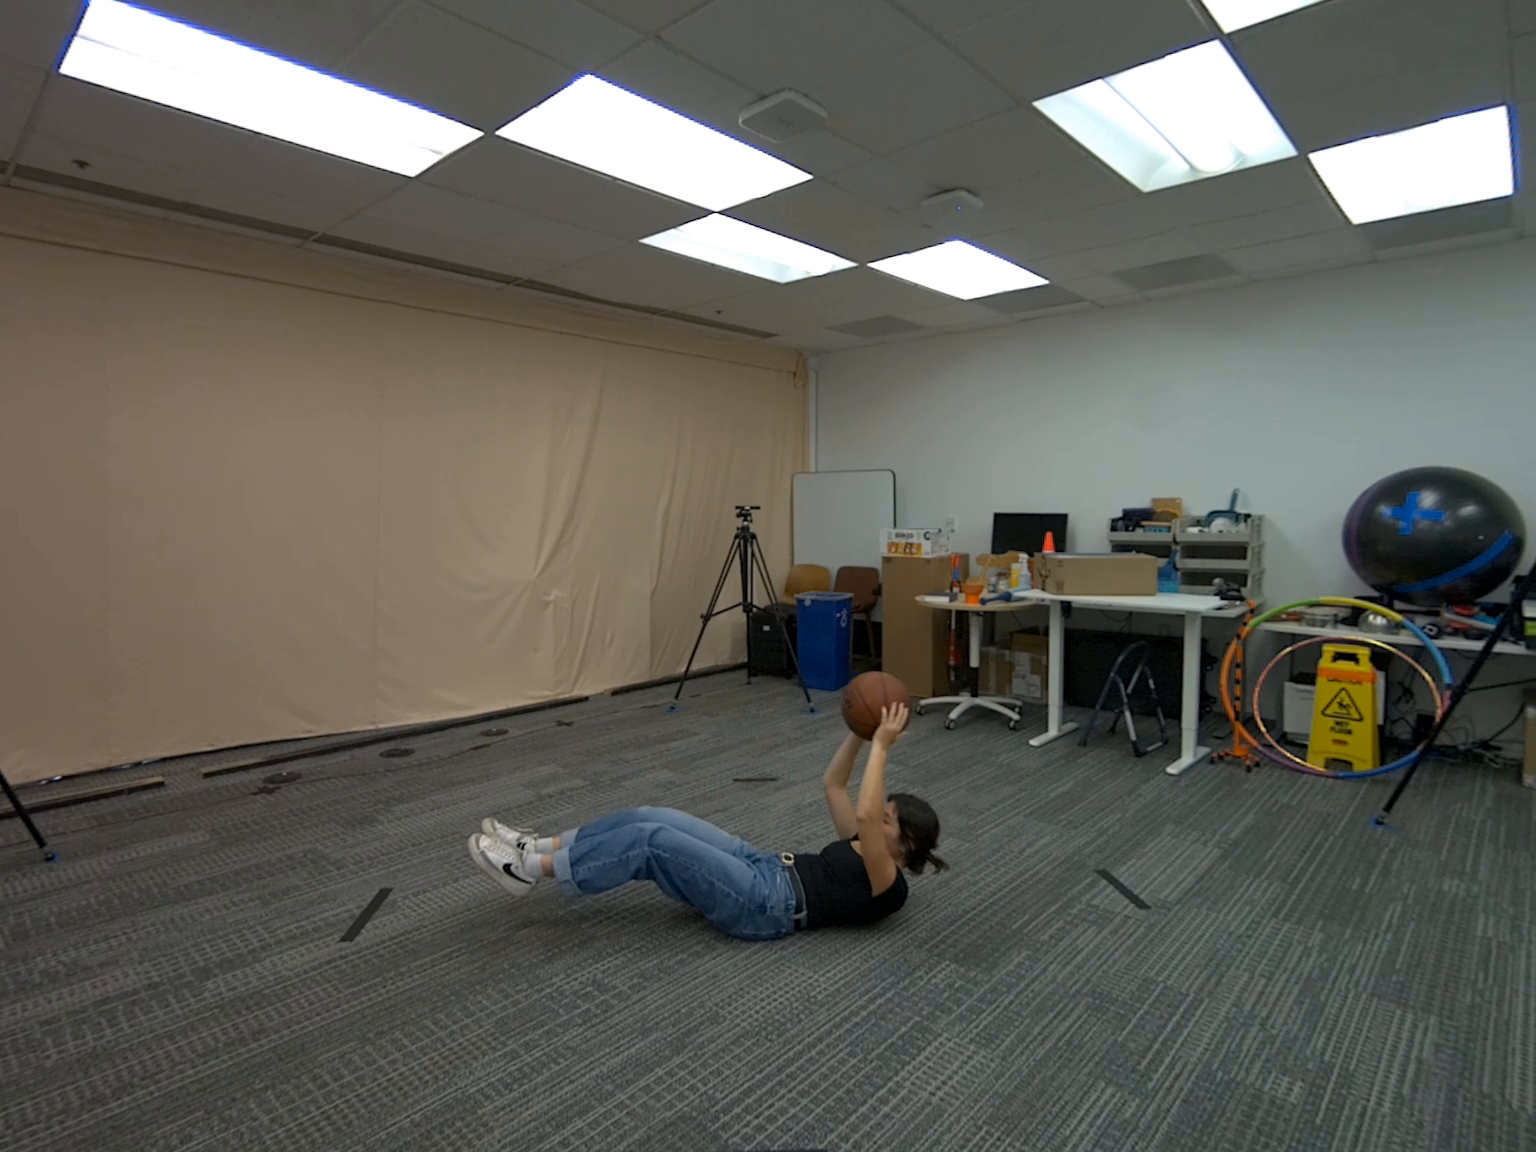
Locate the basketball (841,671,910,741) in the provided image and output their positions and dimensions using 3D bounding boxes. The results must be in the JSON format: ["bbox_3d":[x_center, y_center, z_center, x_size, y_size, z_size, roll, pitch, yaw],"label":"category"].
[{"bbox_3d":[0.379,0.457,2.878,0.236,0.235,0.237,0,4,-2],"label":"basketball"}]
